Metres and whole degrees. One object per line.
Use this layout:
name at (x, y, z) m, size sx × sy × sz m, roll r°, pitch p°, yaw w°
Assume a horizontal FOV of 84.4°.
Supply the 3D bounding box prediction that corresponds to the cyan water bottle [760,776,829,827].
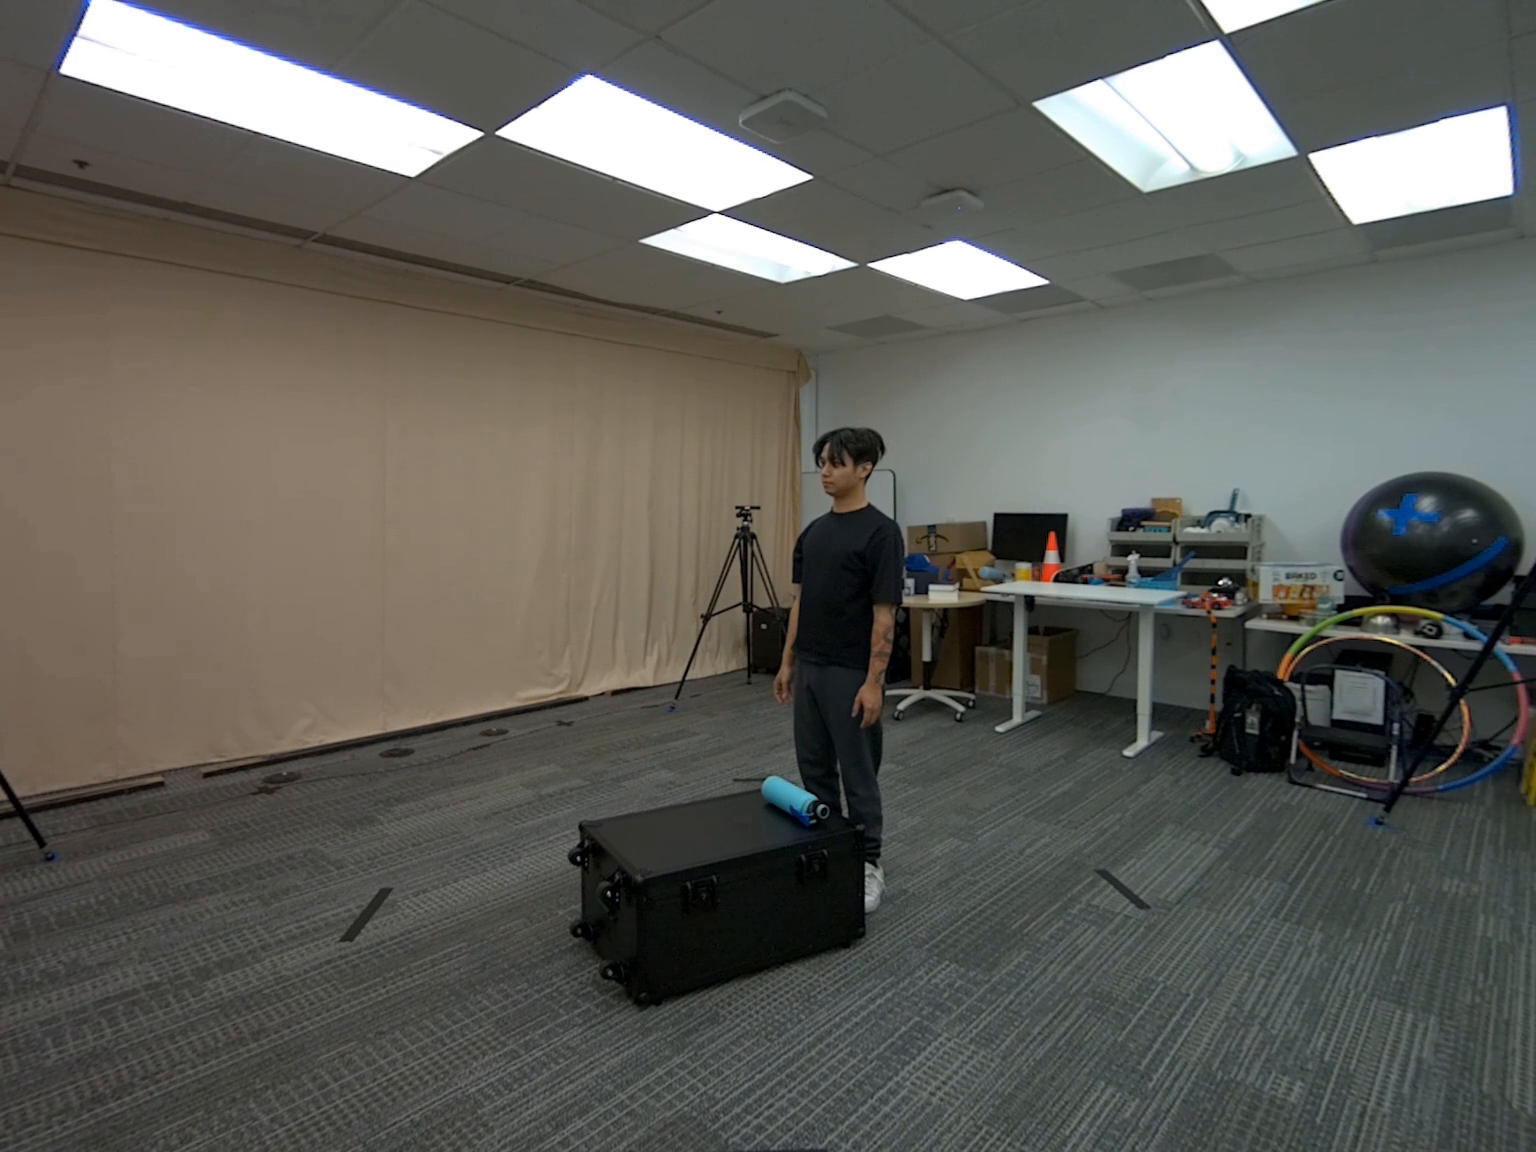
cyan water bottle at (0.090, 0.740, 2.772) m, size 0.090 × 0.092 × 0.292 m, roll -2°, pitch 6°, yaw -30°
